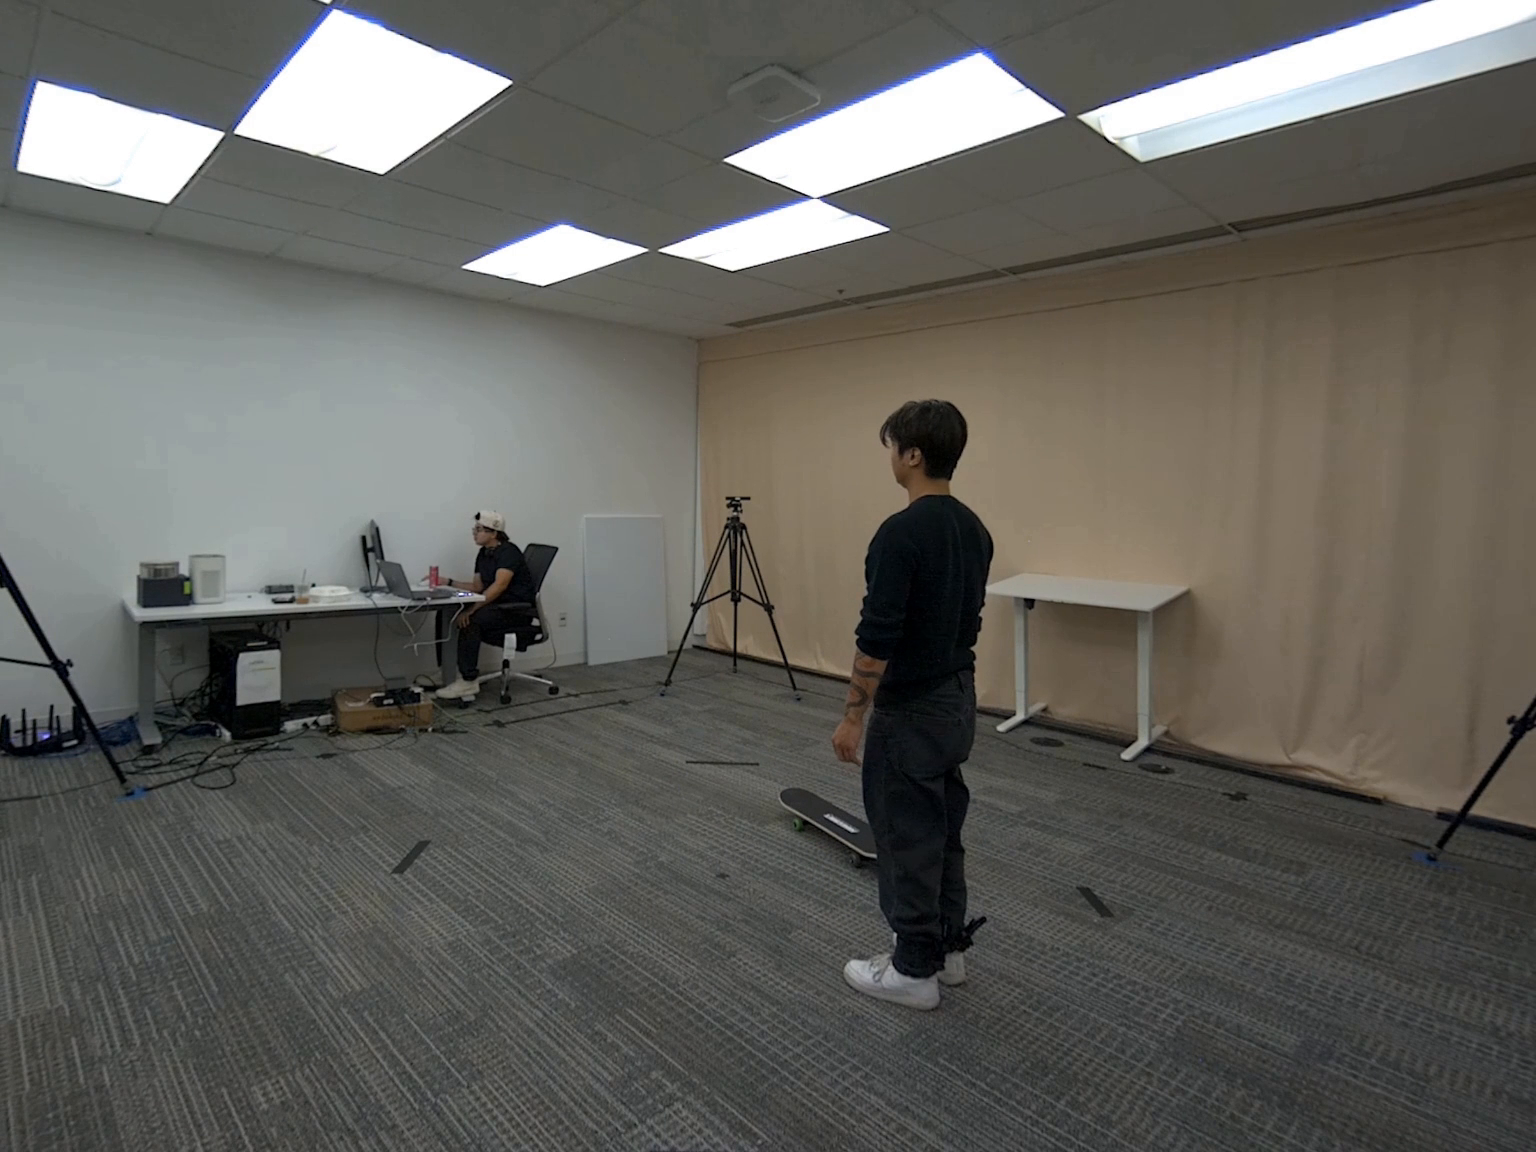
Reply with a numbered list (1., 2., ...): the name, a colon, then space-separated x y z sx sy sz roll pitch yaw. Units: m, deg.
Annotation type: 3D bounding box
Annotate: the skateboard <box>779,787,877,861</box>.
1. skateboard: 0.288 1.032 3.420 0.189 0.110 0.803 0 5 -30
